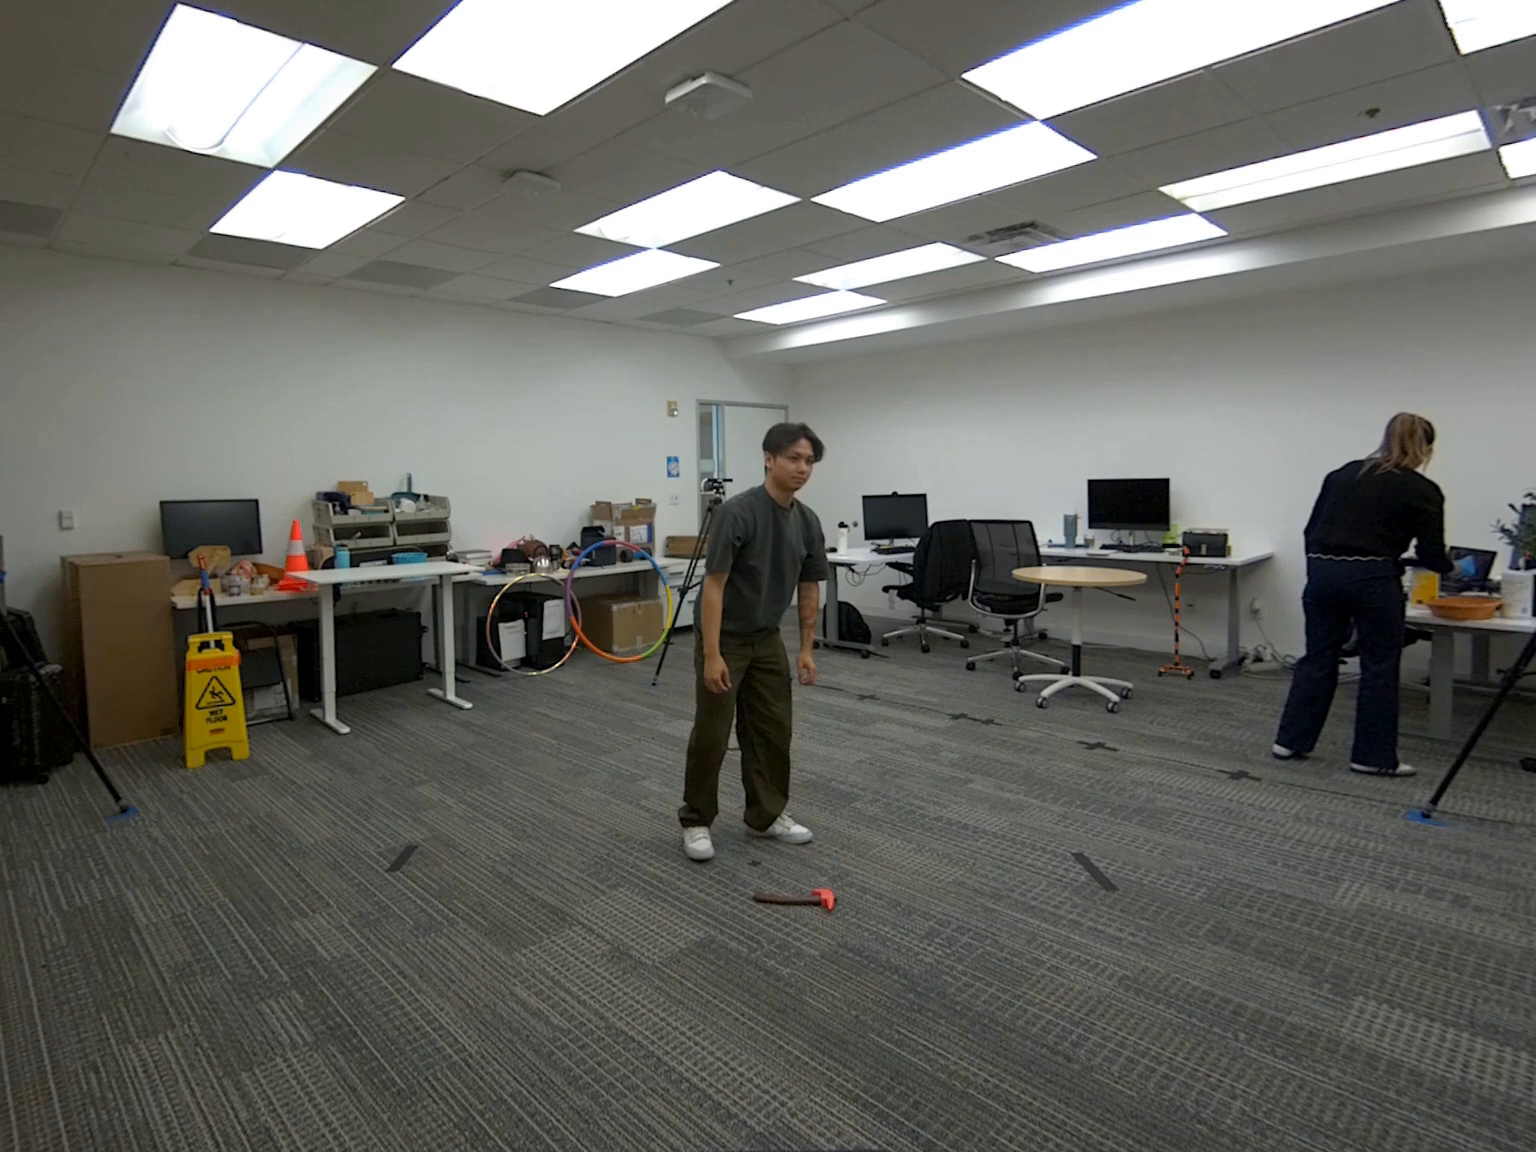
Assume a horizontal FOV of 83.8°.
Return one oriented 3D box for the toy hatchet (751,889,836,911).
[{"bbox_3d":[0.099,1.061,2.839,0.275,0.029,0.129,0,7,20],"label":"toy hatchet"}]
